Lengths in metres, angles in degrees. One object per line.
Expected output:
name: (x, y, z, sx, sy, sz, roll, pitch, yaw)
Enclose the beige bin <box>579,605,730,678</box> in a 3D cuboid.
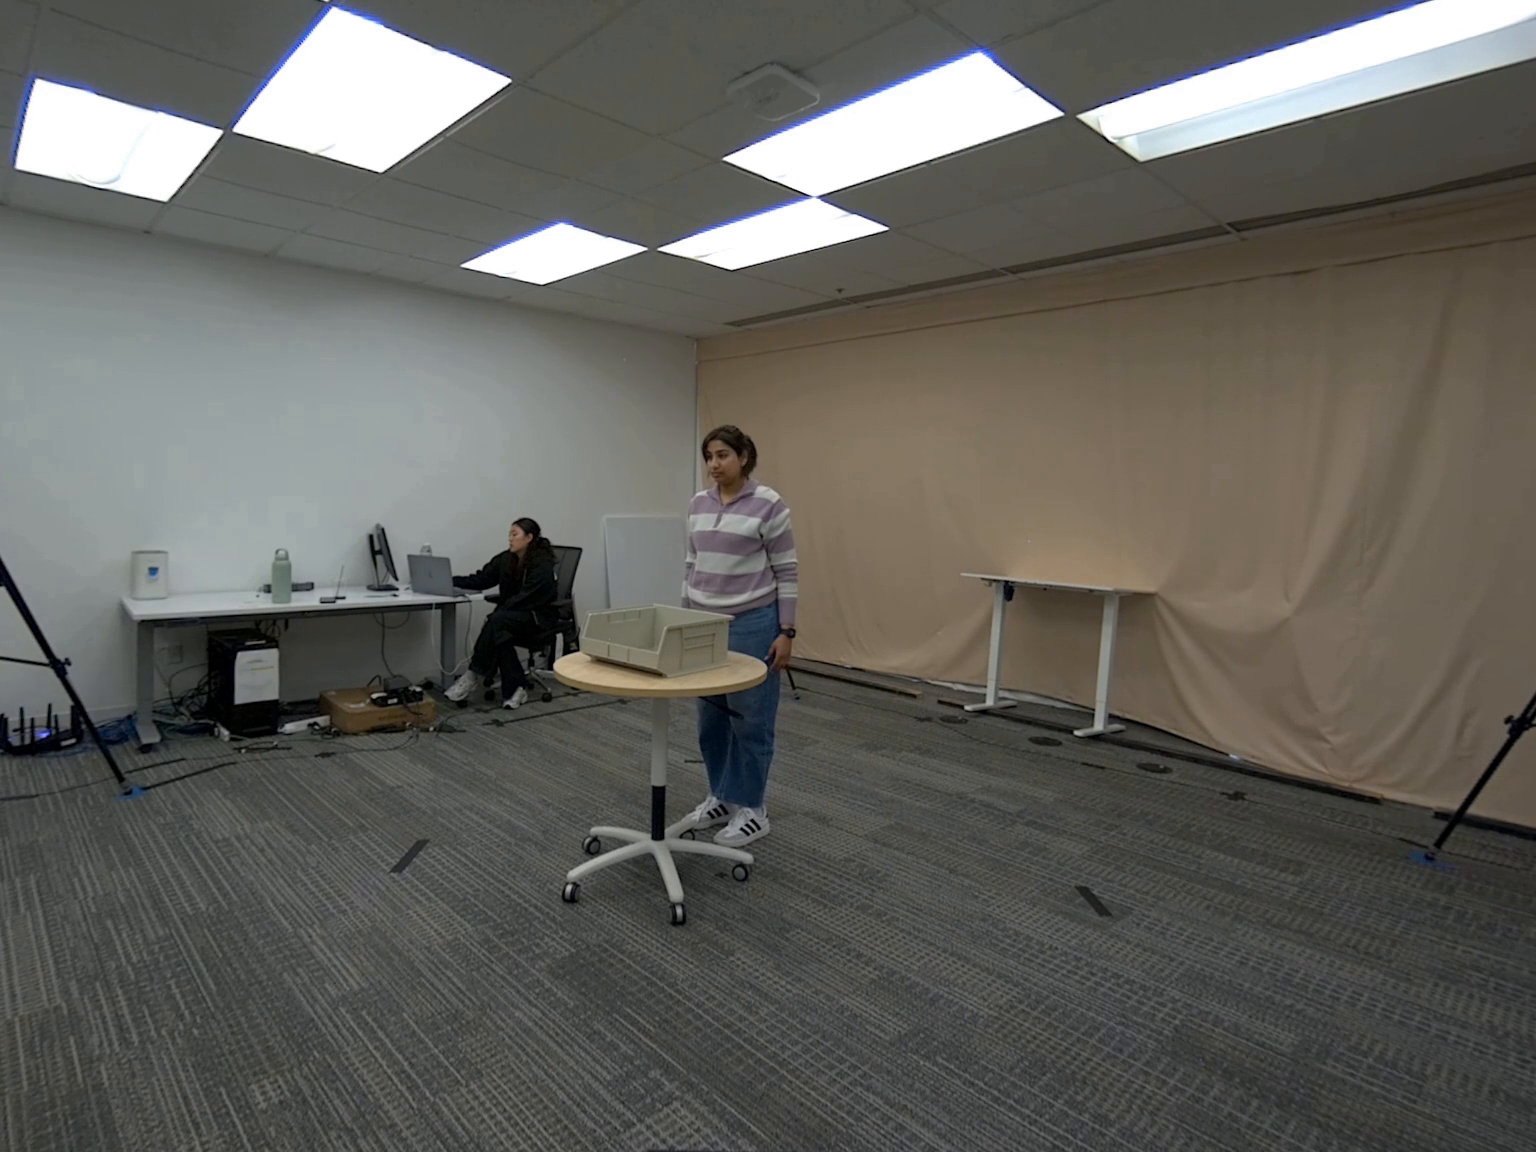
beige bin: (-0.409, 0.226, 3.051, 0.433, 0.188, 0.369, 5, 5, 39)
